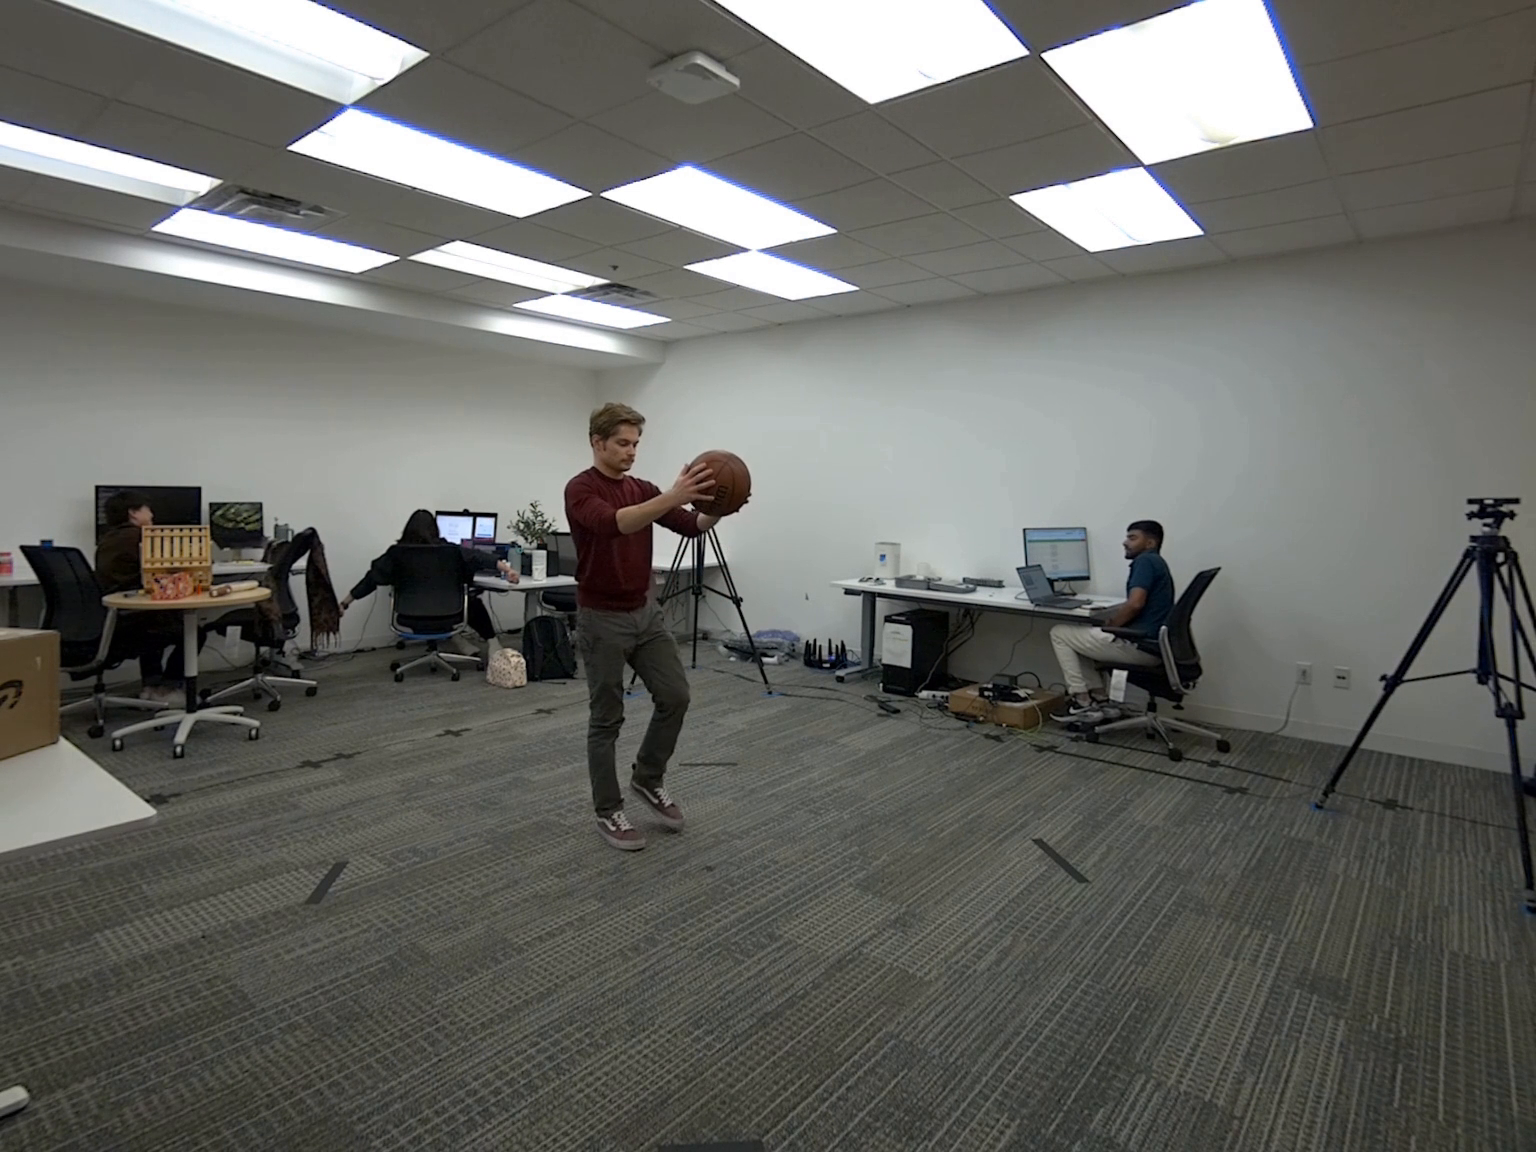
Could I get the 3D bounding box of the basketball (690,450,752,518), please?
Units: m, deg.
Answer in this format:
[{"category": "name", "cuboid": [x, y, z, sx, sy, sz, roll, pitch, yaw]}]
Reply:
[{"category": "basketball", "cuboid": [-0.184, -0.327, 3.020, 0.235, 0.235, 0.237, 1, 4, -2]}]
